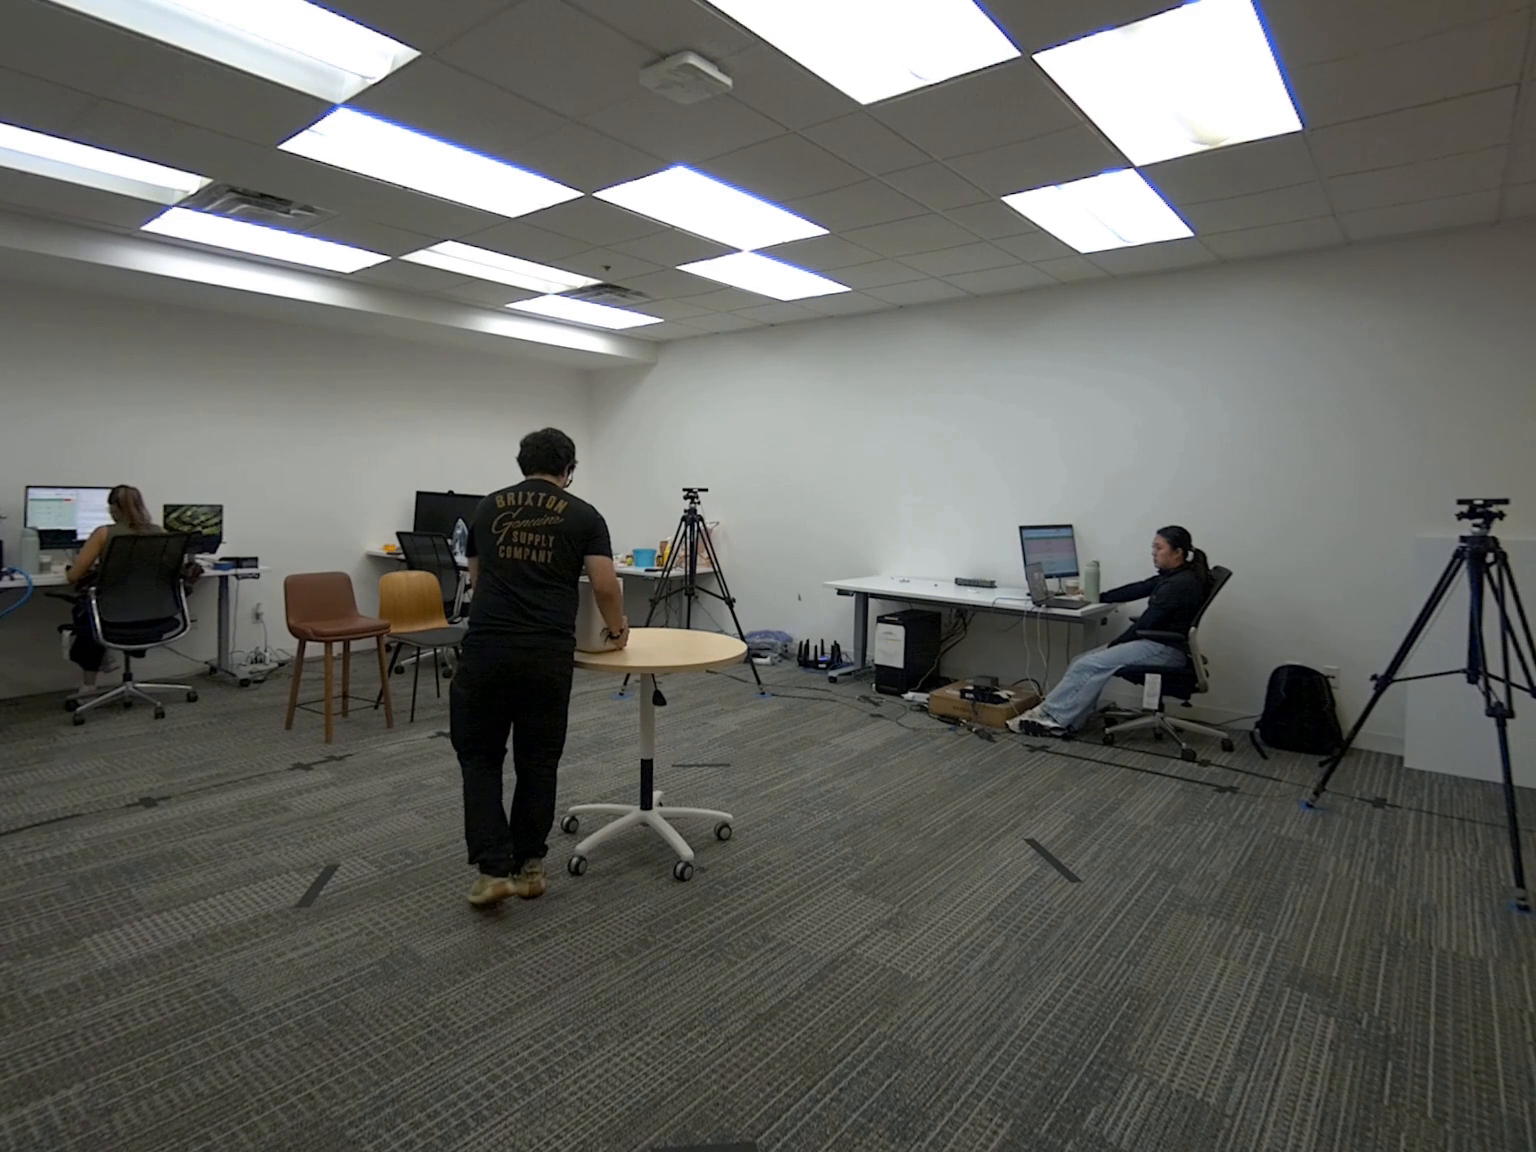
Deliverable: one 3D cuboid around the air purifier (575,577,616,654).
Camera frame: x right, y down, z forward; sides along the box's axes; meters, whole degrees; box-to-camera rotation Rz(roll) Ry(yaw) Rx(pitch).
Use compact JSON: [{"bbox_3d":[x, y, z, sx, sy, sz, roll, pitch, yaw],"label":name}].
[{"bbox_3d":[-0.667,0.138,3.186,0.177,0.264,0.166,5,5,36],"label":"air purifier"}]
